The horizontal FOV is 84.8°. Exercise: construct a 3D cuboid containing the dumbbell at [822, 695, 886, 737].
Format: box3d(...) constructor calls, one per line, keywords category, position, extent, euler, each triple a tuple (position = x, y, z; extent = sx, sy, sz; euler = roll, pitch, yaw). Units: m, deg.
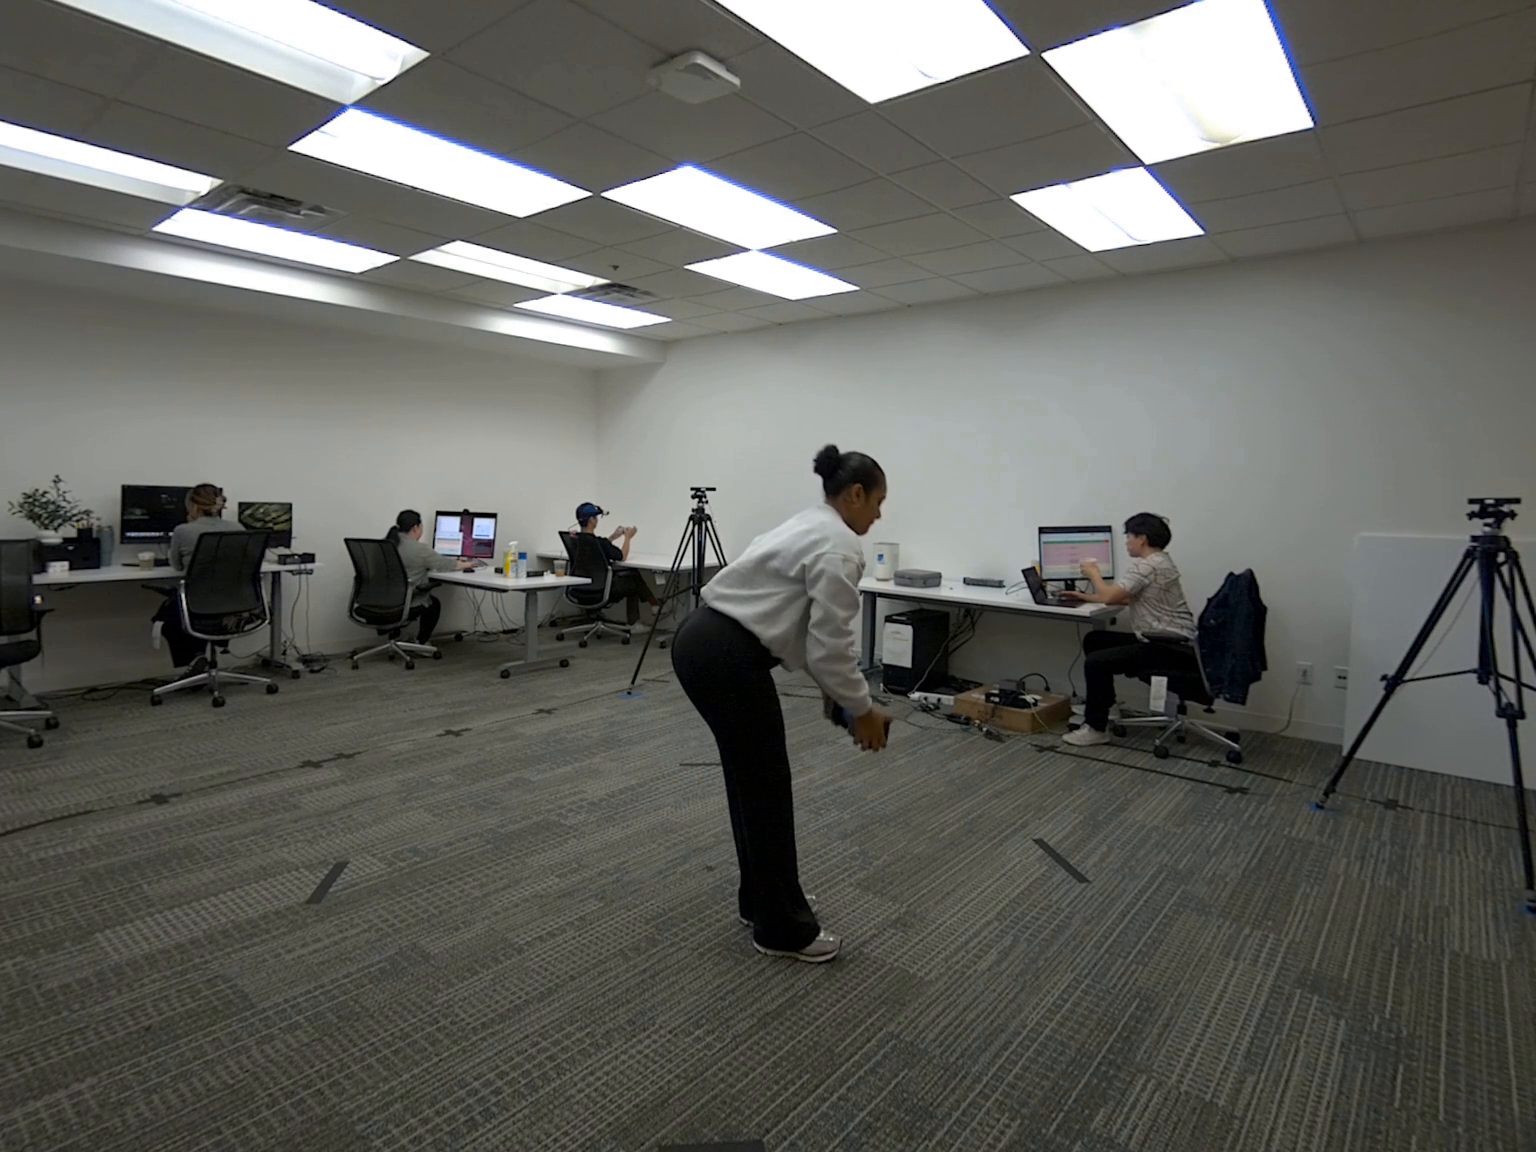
box3d(category="dumbbell", position=(0.268, 0.429, 2.658), extent=(0.121, 0.109, 0.298), euler=(42, -2, -13))
